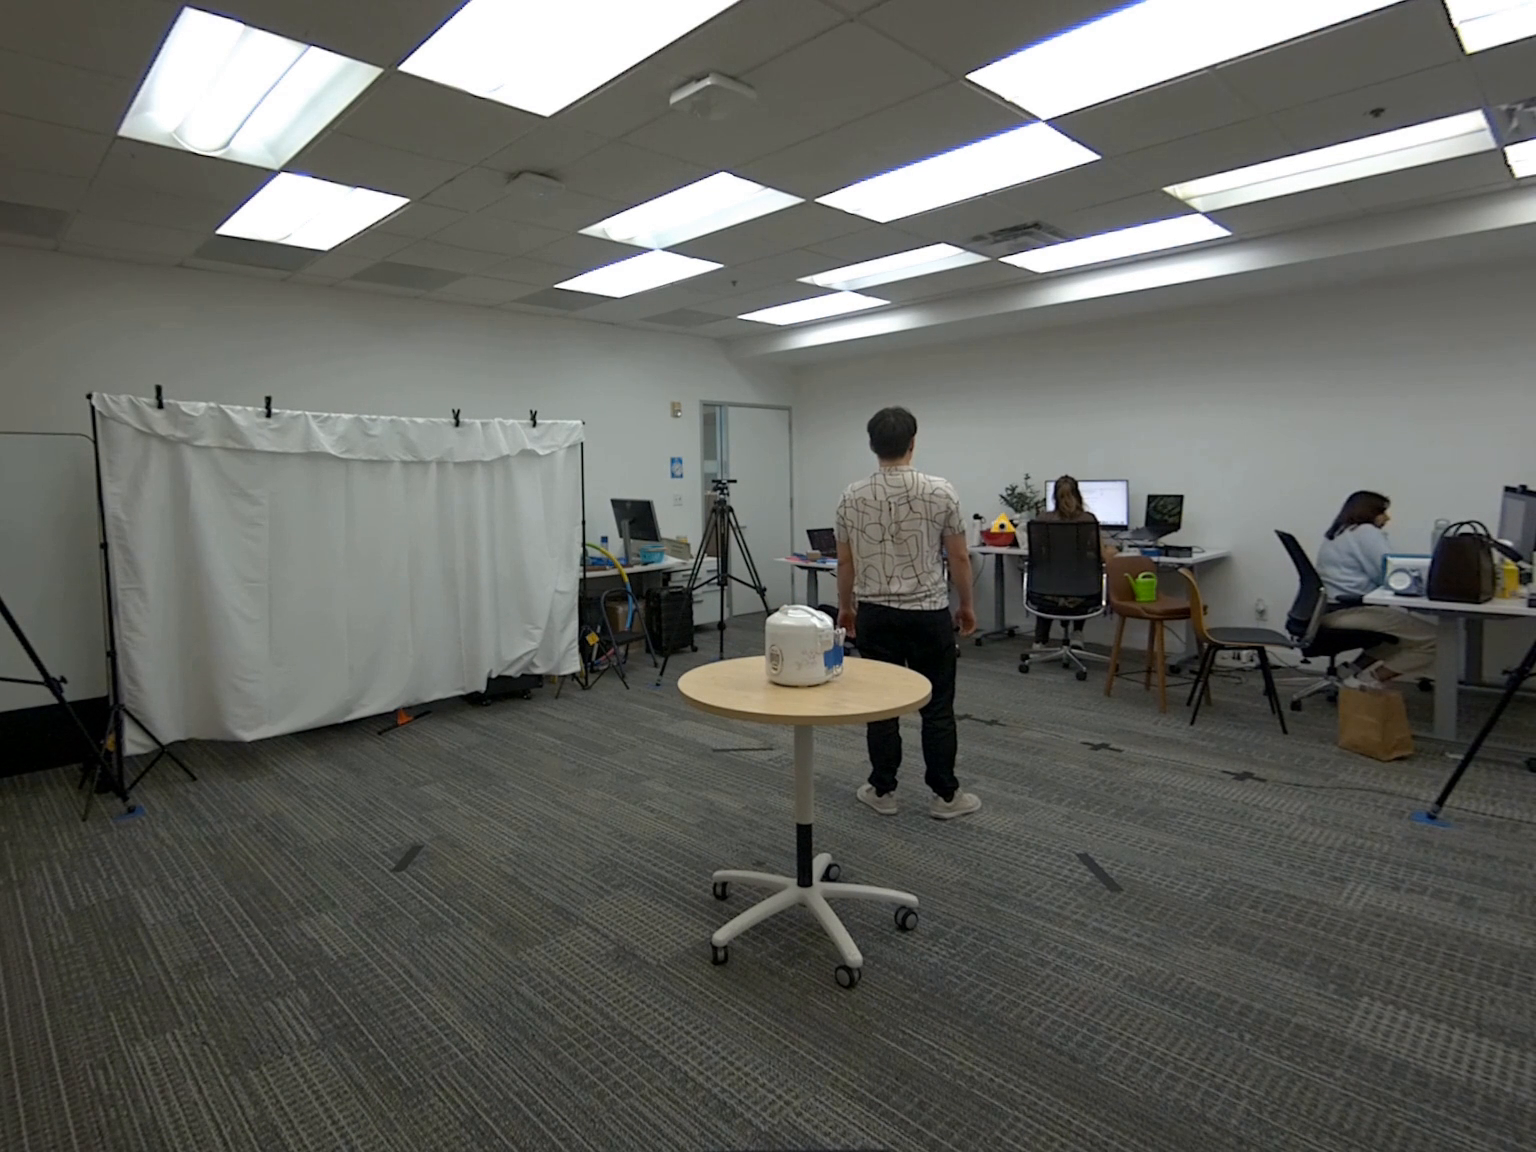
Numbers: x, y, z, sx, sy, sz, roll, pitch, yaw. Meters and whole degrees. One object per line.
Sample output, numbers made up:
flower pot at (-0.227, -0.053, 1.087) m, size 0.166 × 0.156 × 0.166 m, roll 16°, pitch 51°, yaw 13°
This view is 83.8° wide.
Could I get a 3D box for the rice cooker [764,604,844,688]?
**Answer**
rice cooker at (0.099, 0.204, 2.600) m, size 0.211 × 0.232 × 0.227 m, roll -3°, pitch 5°, yaw -43°
